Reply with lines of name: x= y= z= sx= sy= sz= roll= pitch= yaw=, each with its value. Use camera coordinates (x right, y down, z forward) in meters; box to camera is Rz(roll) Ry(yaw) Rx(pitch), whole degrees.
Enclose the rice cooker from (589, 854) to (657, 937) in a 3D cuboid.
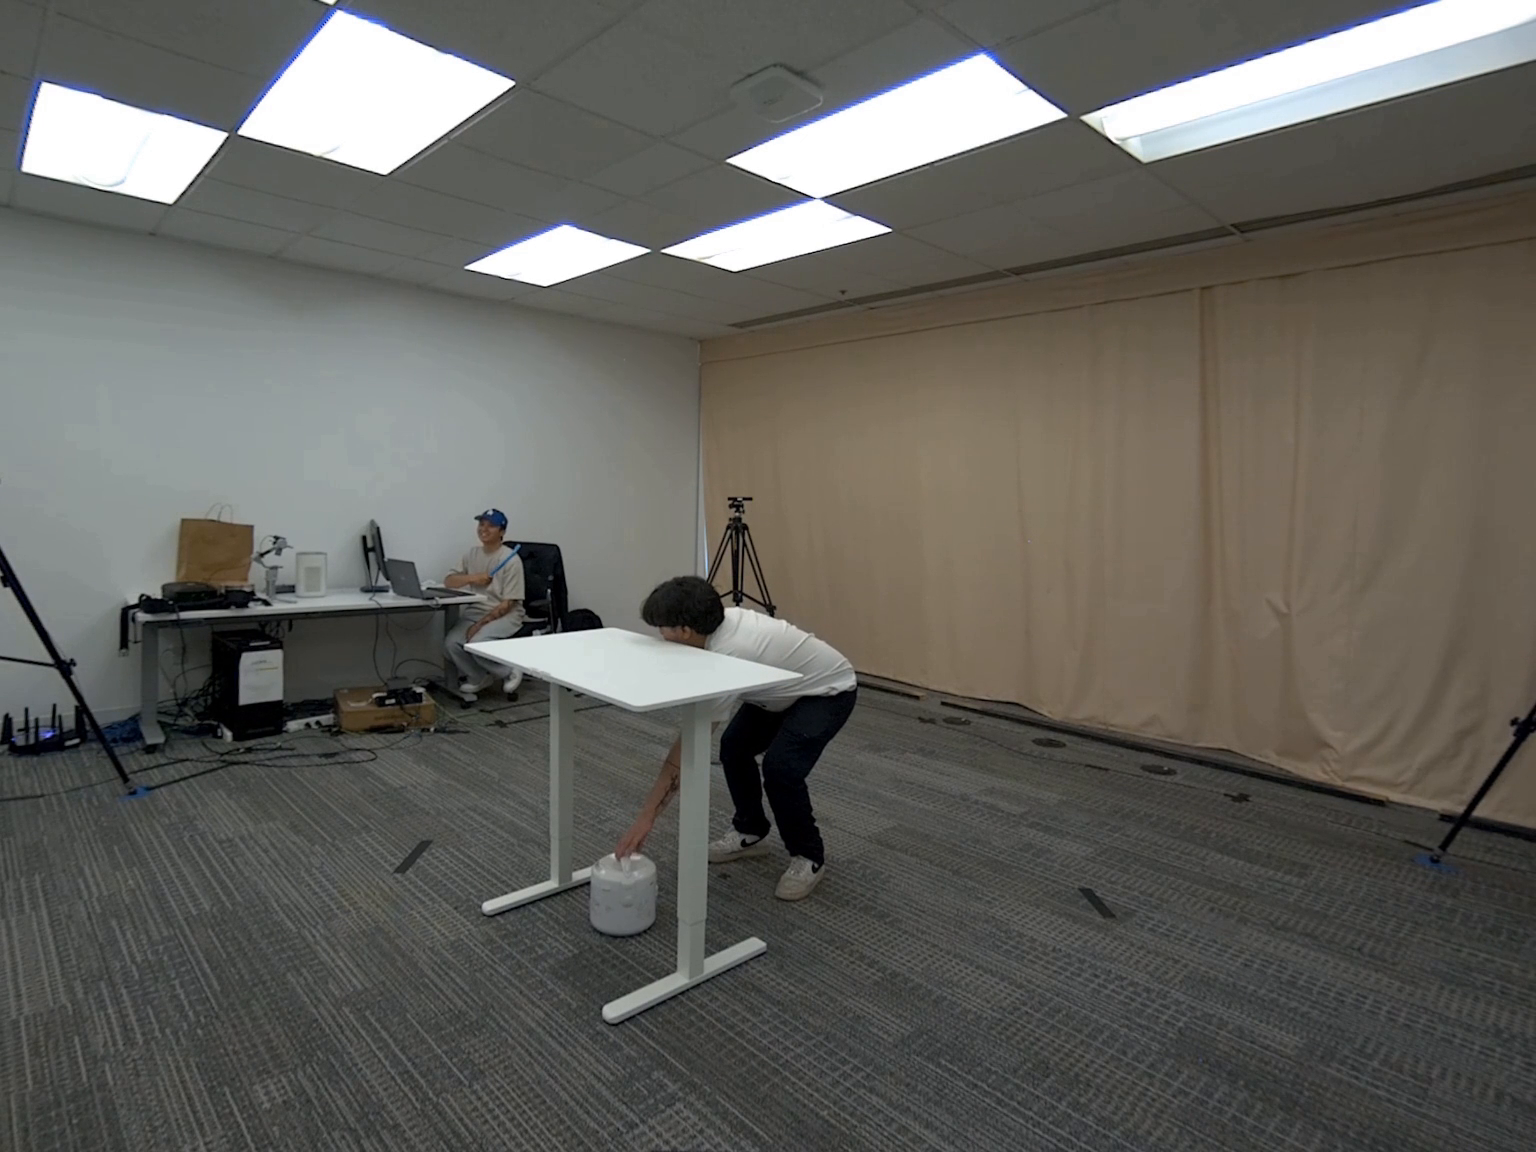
rice cooker: x=-0.468 y=1.017 z=2.733 sx=0.215 sy=0.232 sz=0.224 roll=1 pitch=3 yaw=-15
